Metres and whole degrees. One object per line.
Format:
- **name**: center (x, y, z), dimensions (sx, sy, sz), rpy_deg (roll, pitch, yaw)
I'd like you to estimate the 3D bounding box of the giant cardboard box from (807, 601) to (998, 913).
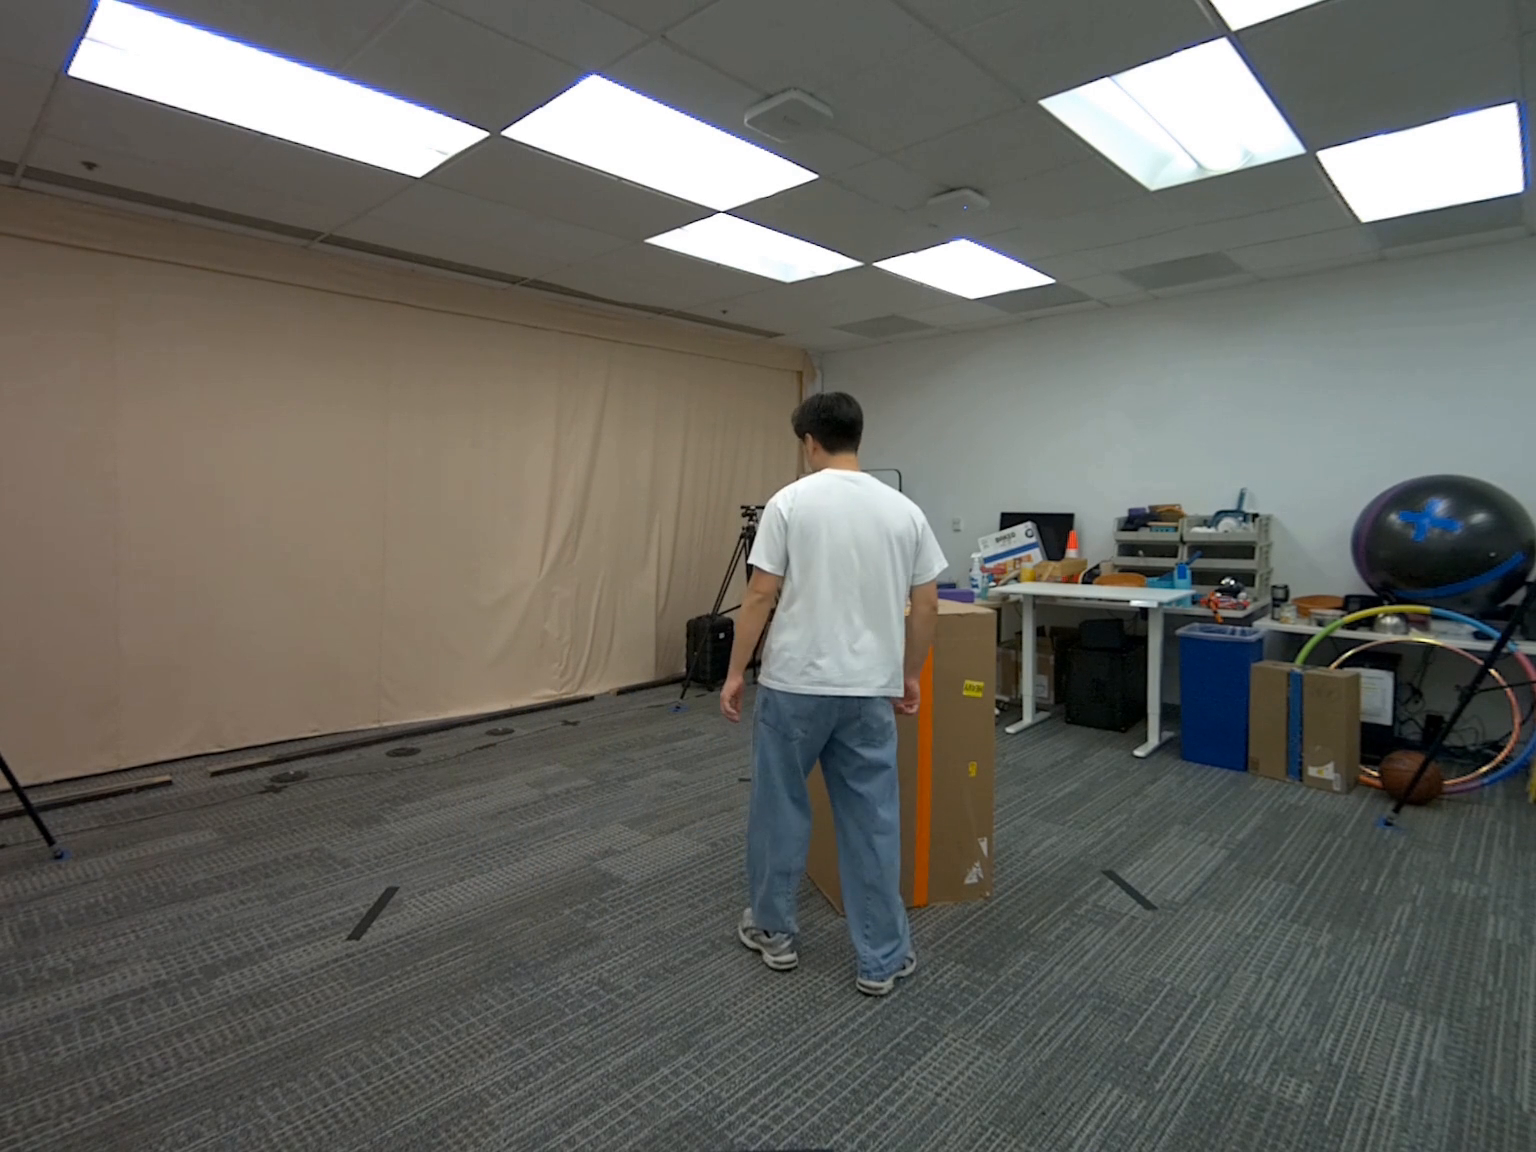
- **giant cardboard box**: center (0.470, 0.623, 3.098), dimensions (0.568, 1.024, 0.434), rpy_deg (-1, 3, -16)
